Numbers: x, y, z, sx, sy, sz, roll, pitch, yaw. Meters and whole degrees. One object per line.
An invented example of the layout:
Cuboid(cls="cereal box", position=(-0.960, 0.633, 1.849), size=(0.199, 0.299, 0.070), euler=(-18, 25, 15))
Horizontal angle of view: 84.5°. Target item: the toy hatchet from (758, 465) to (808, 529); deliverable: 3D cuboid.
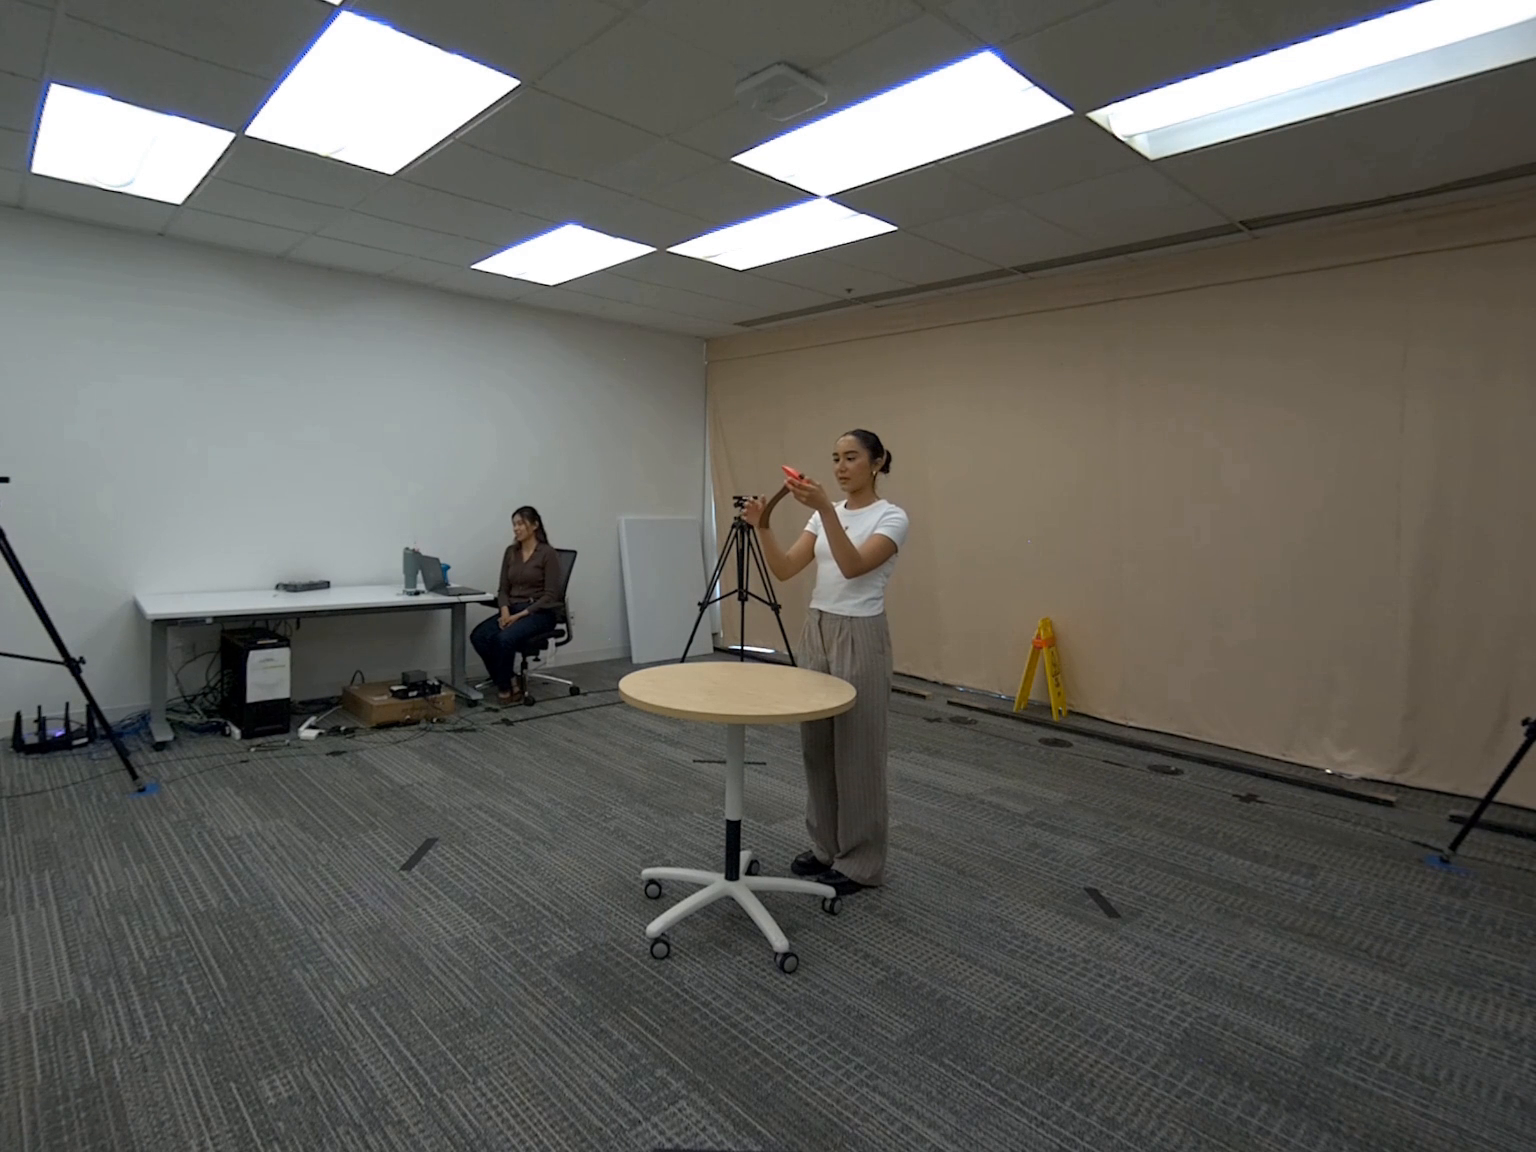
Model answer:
Cuboid(cls="toy hatchet", position=(0.059, -0.235, 2.774), size=(0.132, 0.267, 0.030), euler=(29, 42, 8))
